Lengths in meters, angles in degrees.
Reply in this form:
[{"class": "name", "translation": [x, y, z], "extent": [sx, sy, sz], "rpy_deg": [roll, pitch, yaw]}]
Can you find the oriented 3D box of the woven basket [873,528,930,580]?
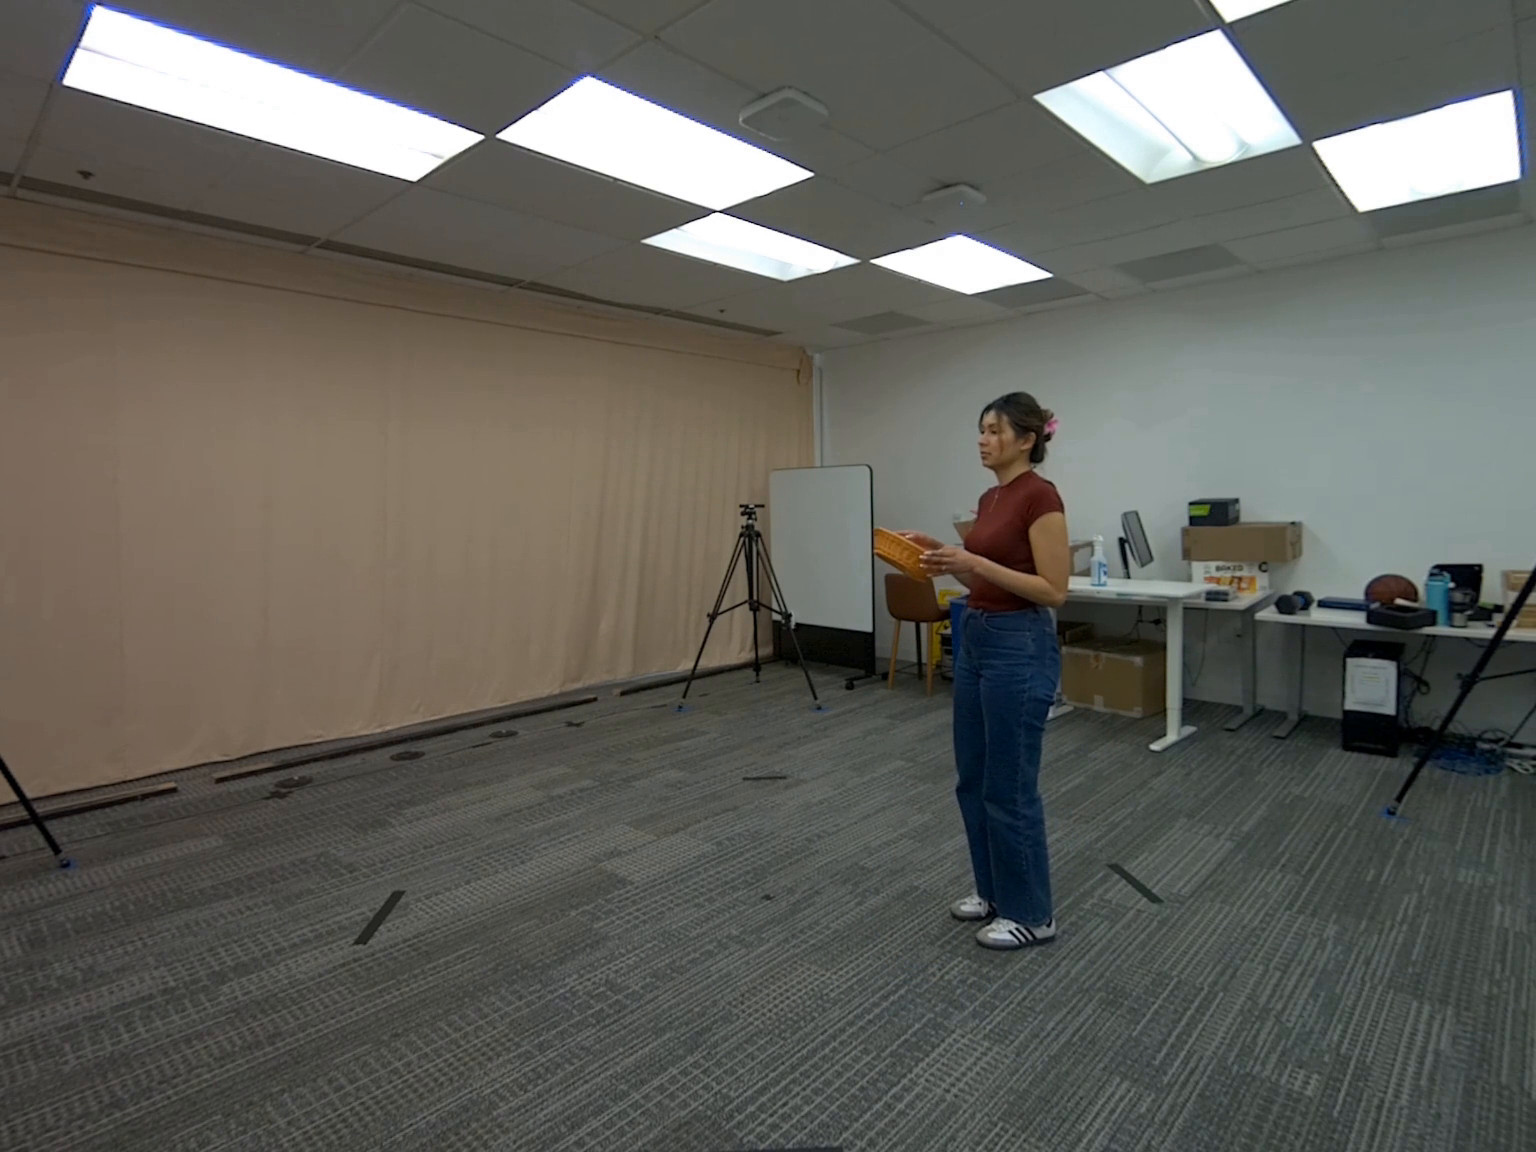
[{"class": "woven basket", "translation": [0.446, -0.049, 2.607], "extent": [0.256, 0.073, 0.346], "rpy_deg": [30, 3, 9]}]
